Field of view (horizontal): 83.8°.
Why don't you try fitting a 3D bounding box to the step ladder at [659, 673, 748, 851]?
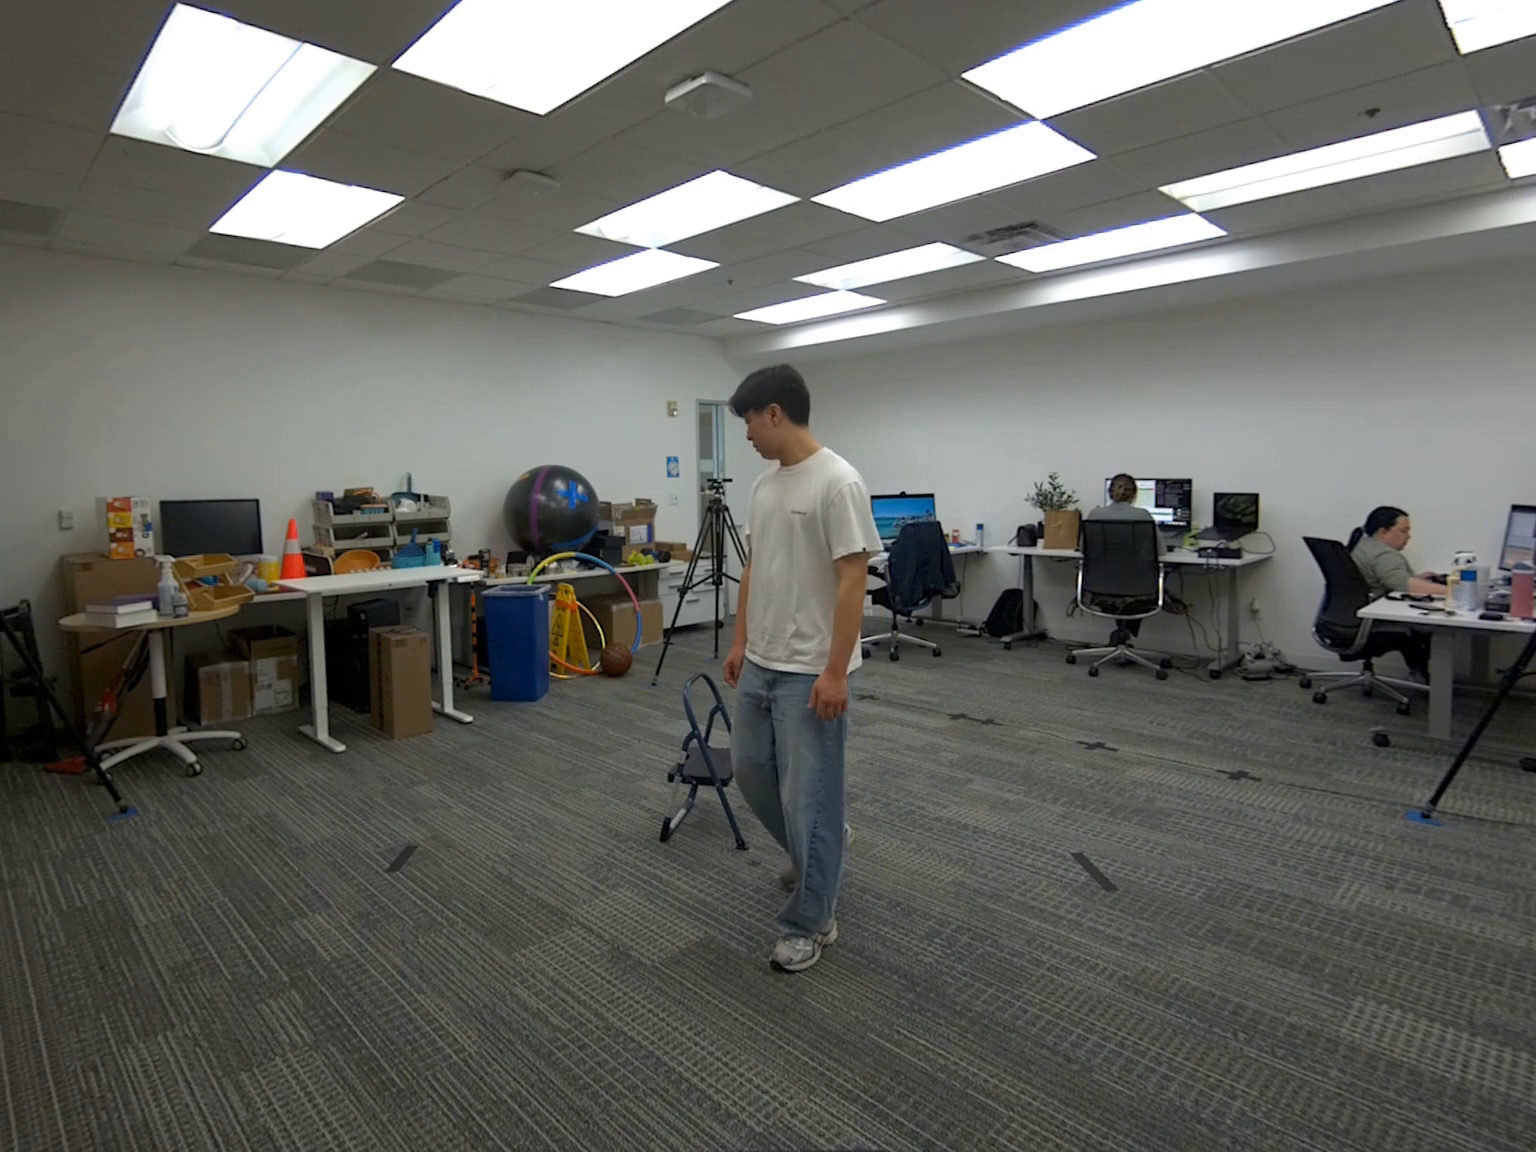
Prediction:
[{"bbox_3d":[-0.223,0.707,3.446,0.353,0.604,0.427,0,4,11],"label":"step ladder"}]
